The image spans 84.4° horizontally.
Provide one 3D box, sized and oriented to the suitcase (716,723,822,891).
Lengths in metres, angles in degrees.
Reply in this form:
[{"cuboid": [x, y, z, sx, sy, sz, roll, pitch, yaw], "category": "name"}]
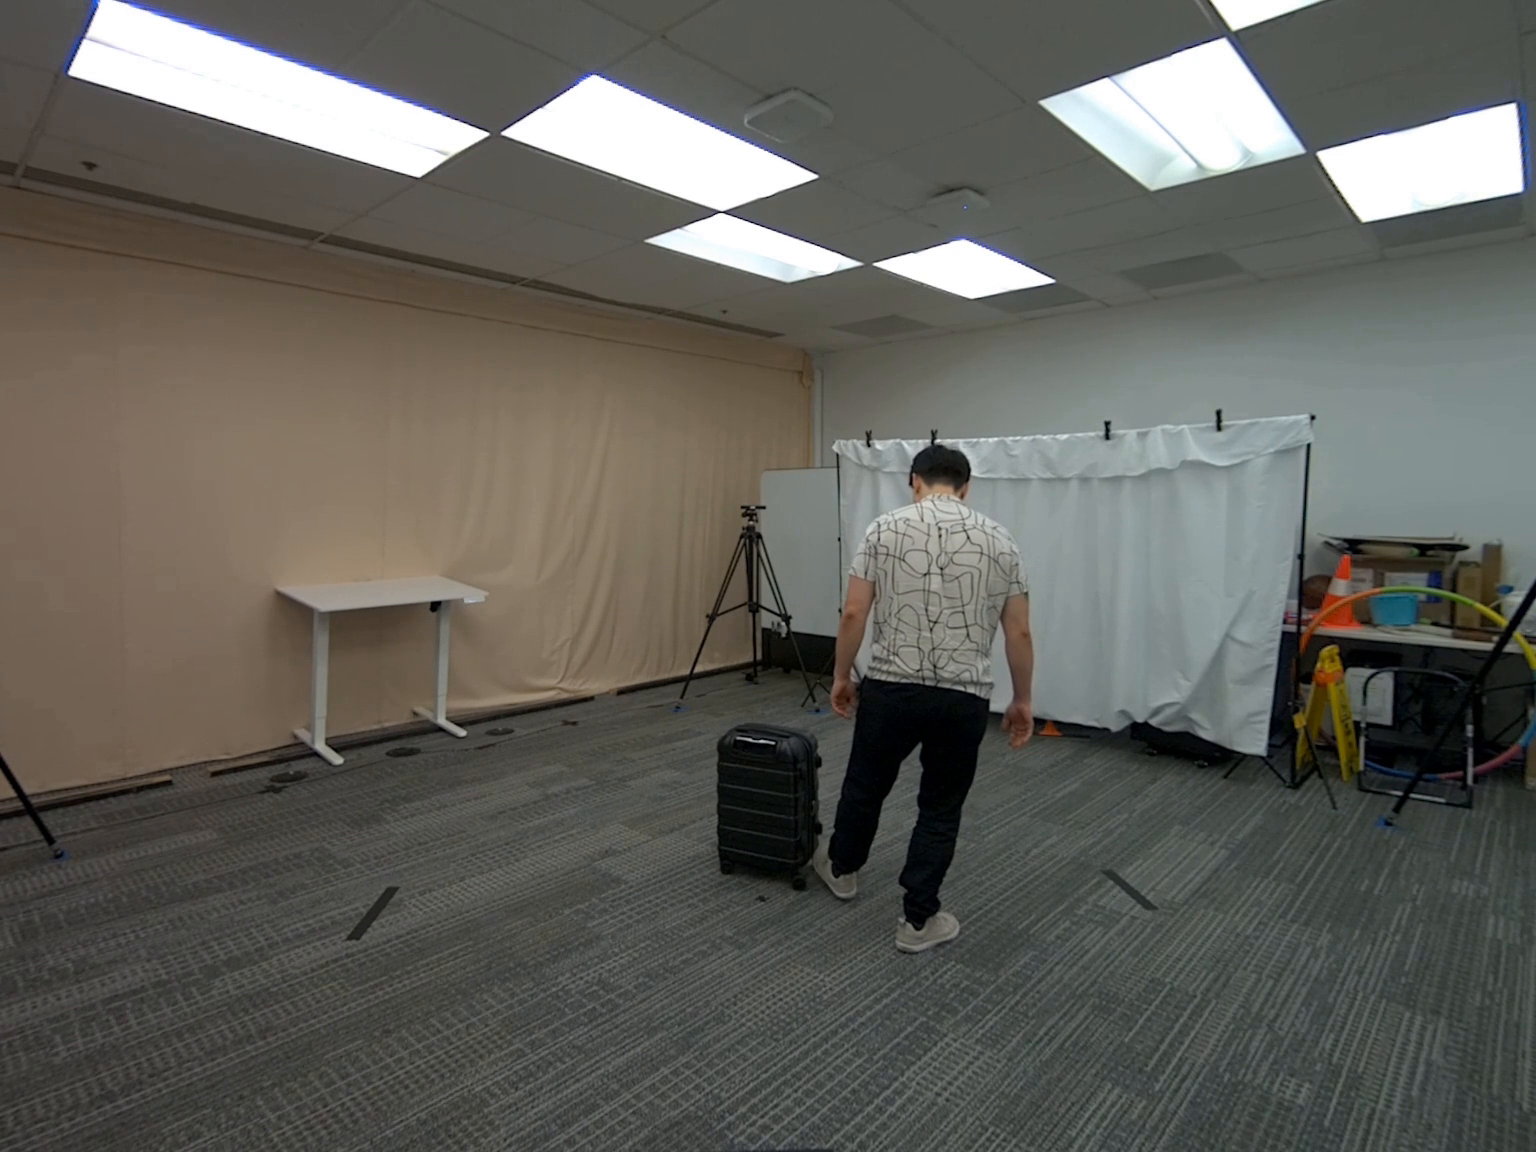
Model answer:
[{"cuboid": [0.003, 0.846, 3.210, 0.385, 0.548, 0.242, 0, 3, 27], "category": "suitcase"}]
